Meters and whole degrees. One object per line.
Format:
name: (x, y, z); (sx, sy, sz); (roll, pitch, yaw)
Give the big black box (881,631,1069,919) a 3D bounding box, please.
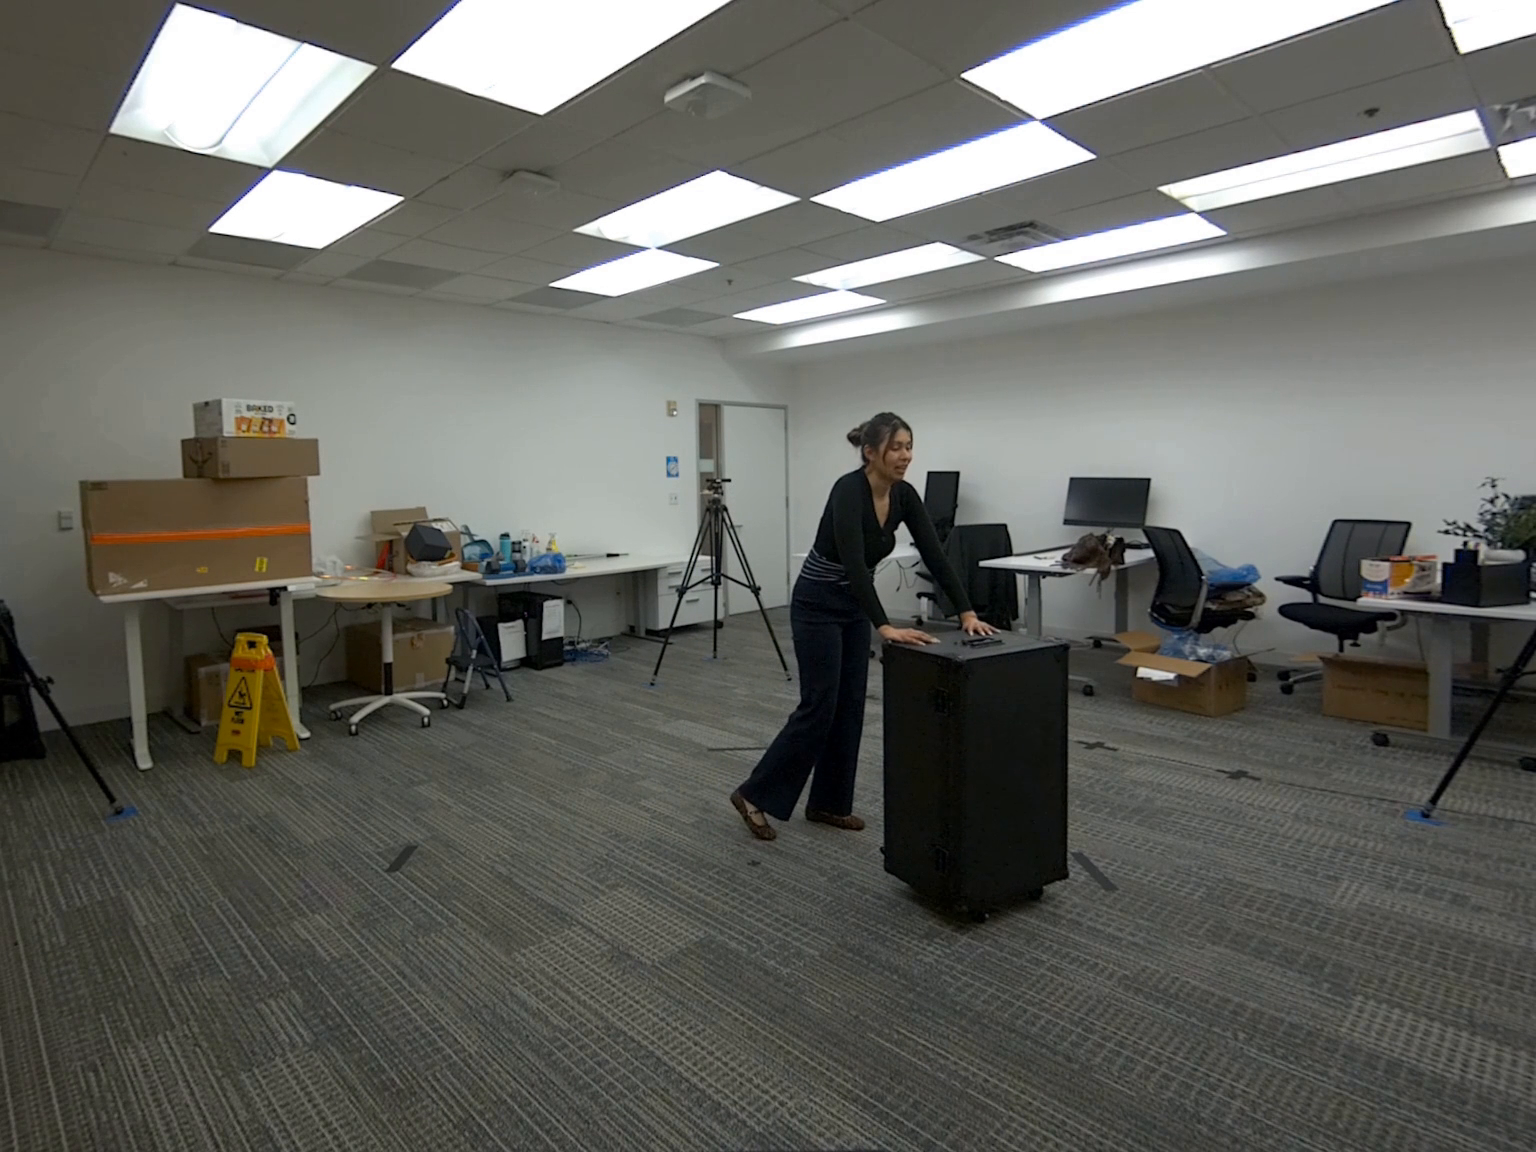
big black box: (0.675, 0.636, 2.820); (0.509, 0.859, 0.407); (-4, 4, -30)
